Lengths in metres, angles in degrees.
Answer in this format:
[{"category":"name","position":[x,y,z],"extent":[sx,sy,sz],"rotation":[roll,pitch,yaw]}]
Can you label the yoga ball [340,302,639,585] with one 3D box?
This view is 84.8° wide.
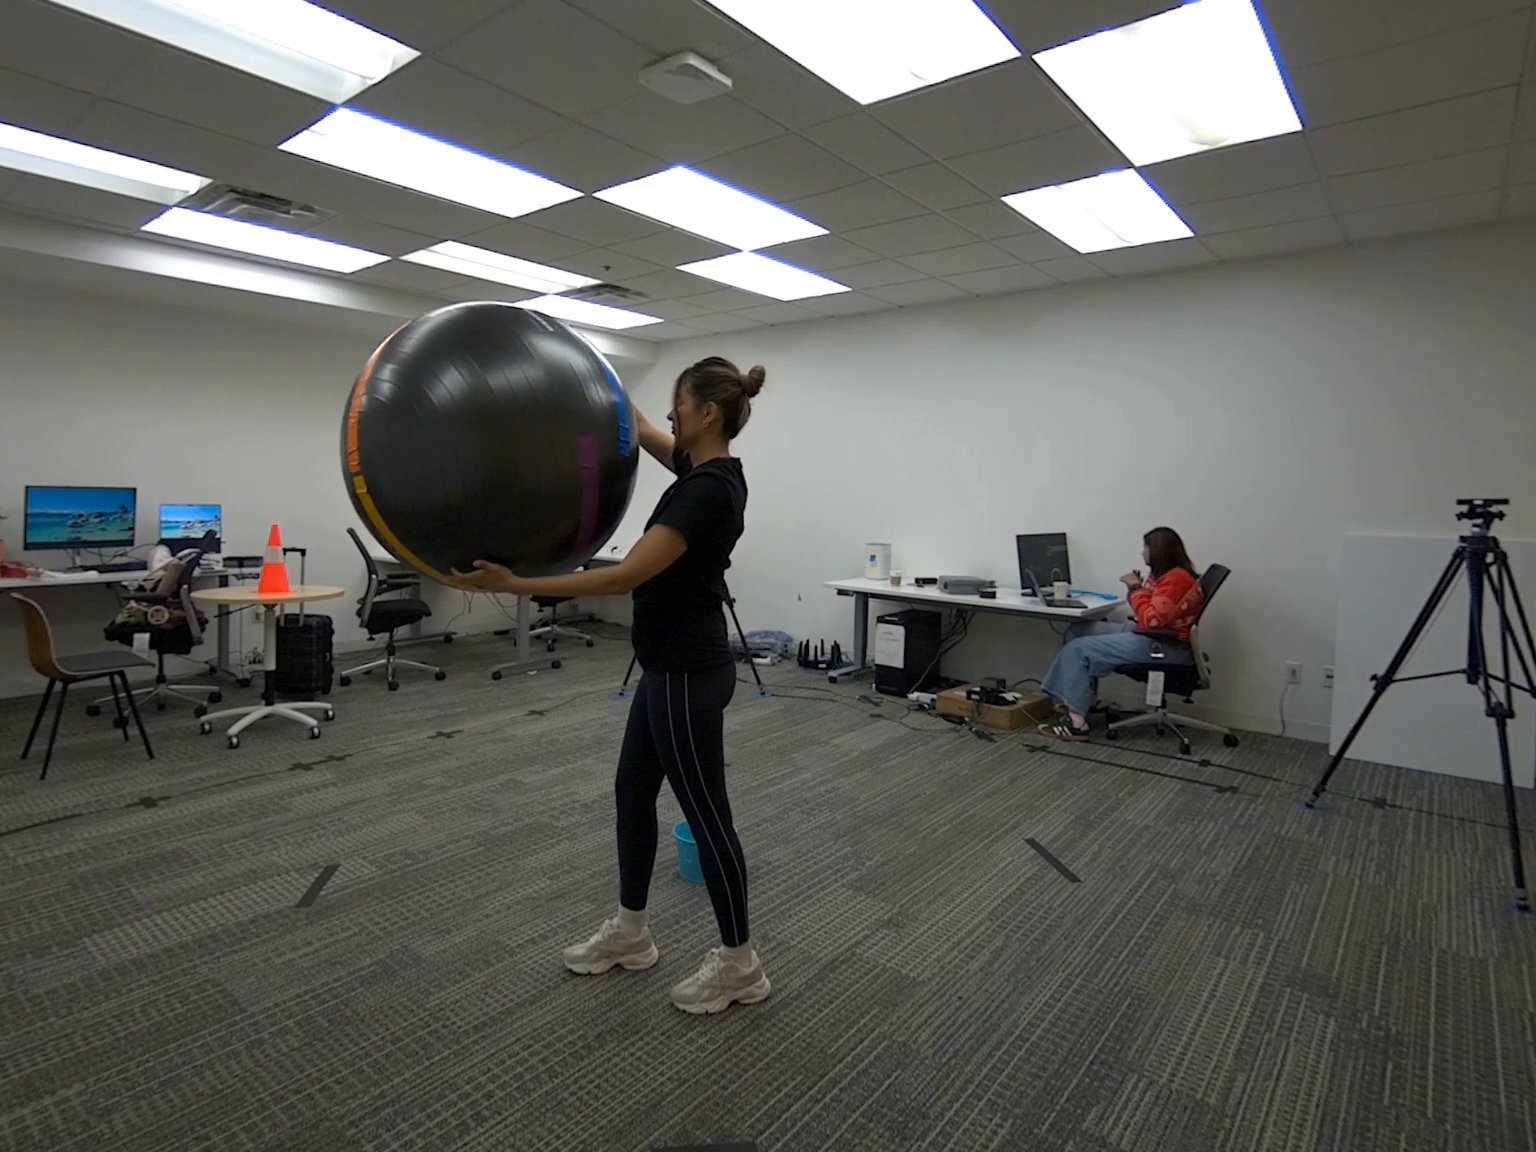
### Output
[{"category":"yoga ball","position":[-0.729,-0.322,2.238],"extent":[0.757,0.756,0.761],"rotation":[1,4,-2]}]
